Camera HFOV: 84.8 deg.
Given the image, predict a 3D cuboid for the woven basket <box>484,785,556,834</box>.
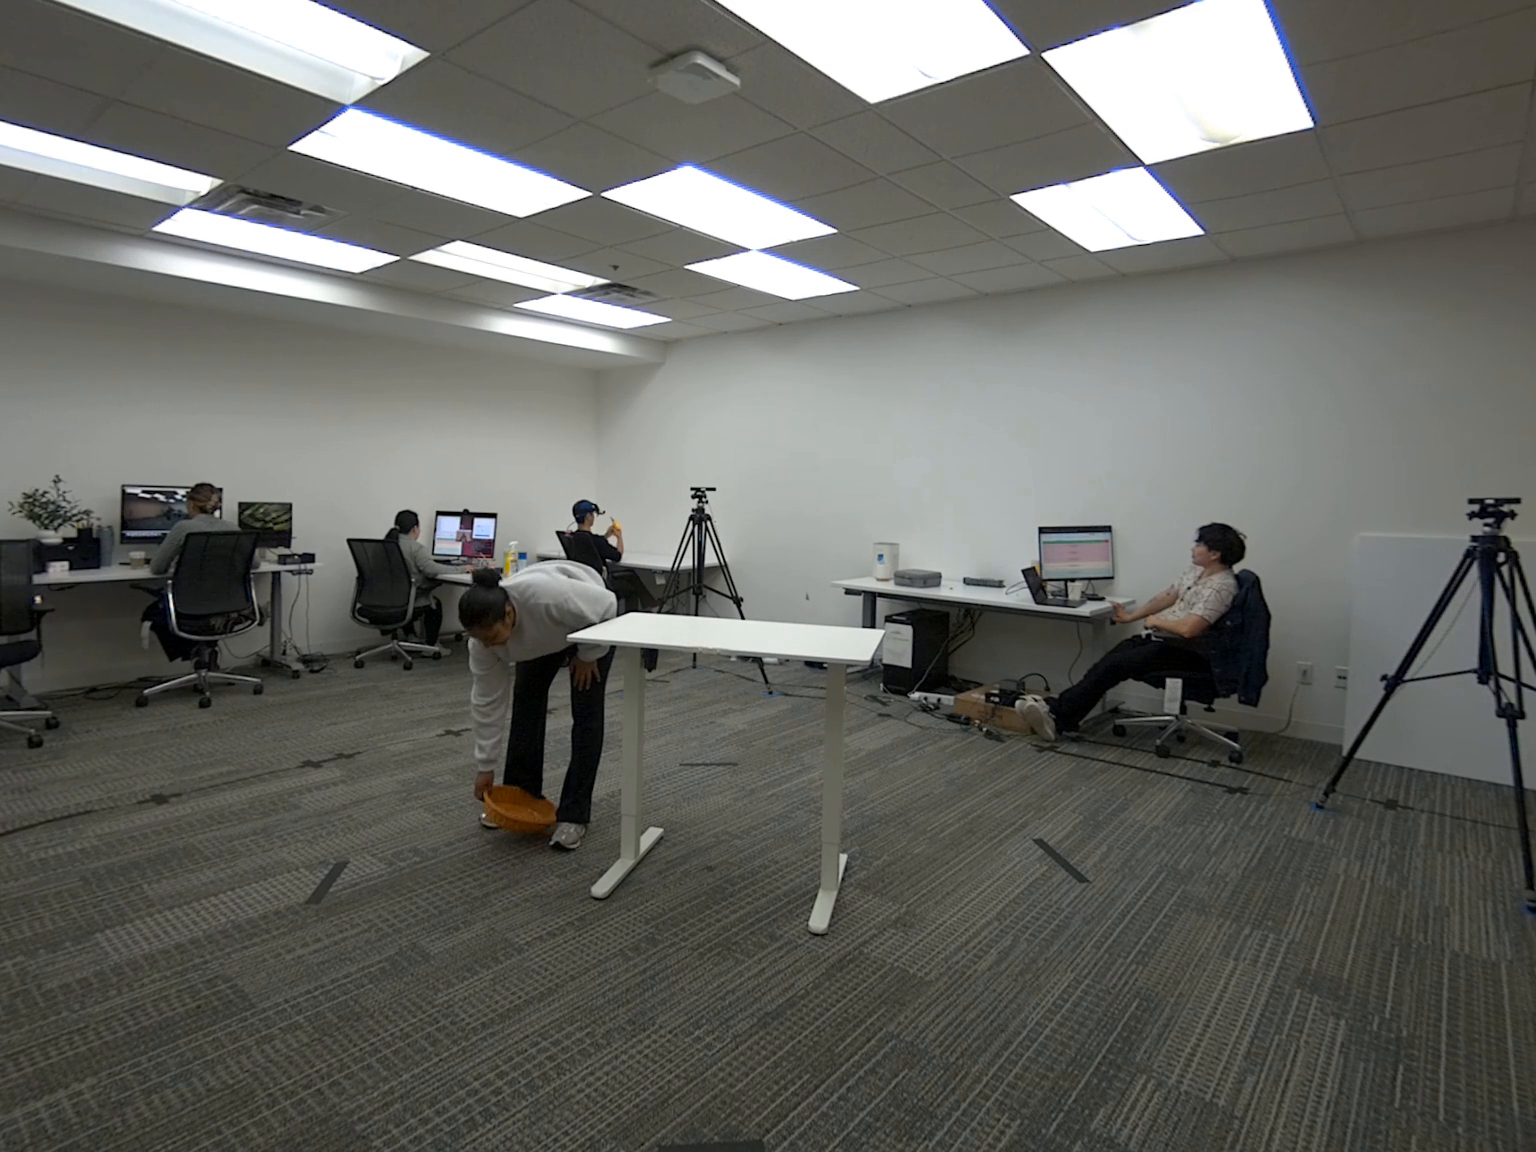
[{"bbox_3d":[-0.999,0.901,3.339,0.263,0.073,0.336,28,2,42],"label":"woven basket"}]
